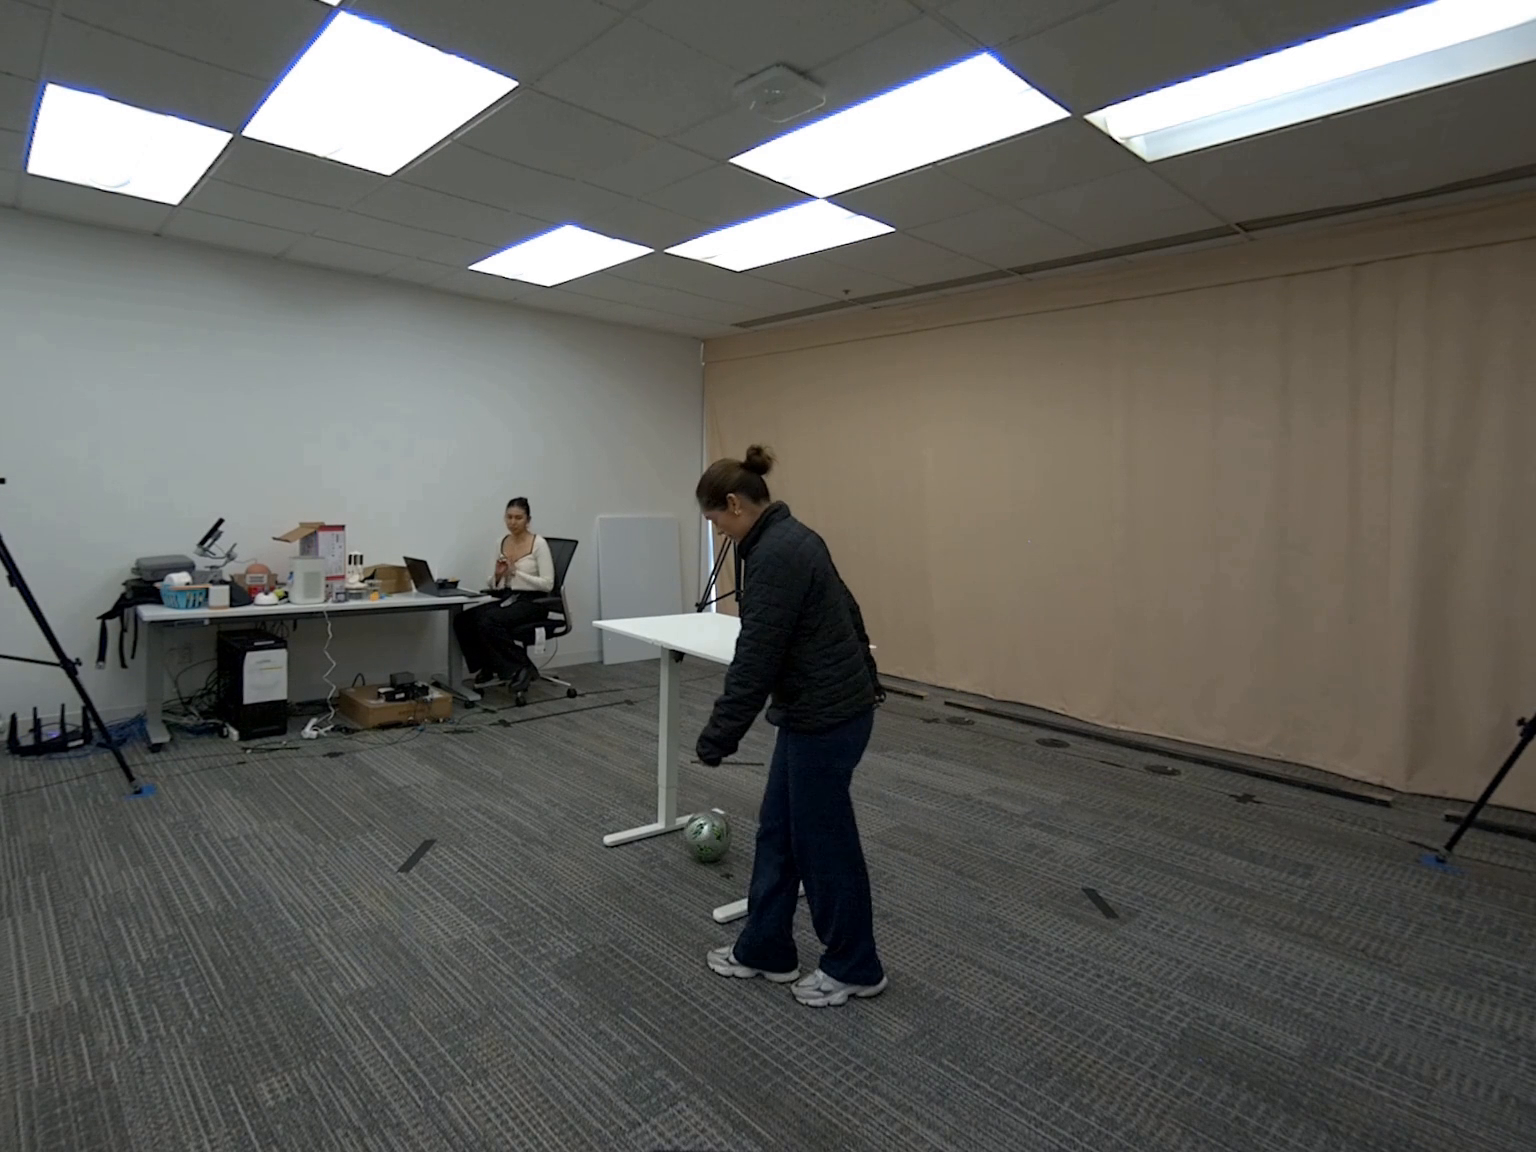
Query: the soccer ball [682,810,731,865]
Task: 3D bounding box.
[{"bbox_3d":[-0.240,0.997,3.232,0.187,0.187,0.188,1,4,-1],"label":"soccer ball"}]
